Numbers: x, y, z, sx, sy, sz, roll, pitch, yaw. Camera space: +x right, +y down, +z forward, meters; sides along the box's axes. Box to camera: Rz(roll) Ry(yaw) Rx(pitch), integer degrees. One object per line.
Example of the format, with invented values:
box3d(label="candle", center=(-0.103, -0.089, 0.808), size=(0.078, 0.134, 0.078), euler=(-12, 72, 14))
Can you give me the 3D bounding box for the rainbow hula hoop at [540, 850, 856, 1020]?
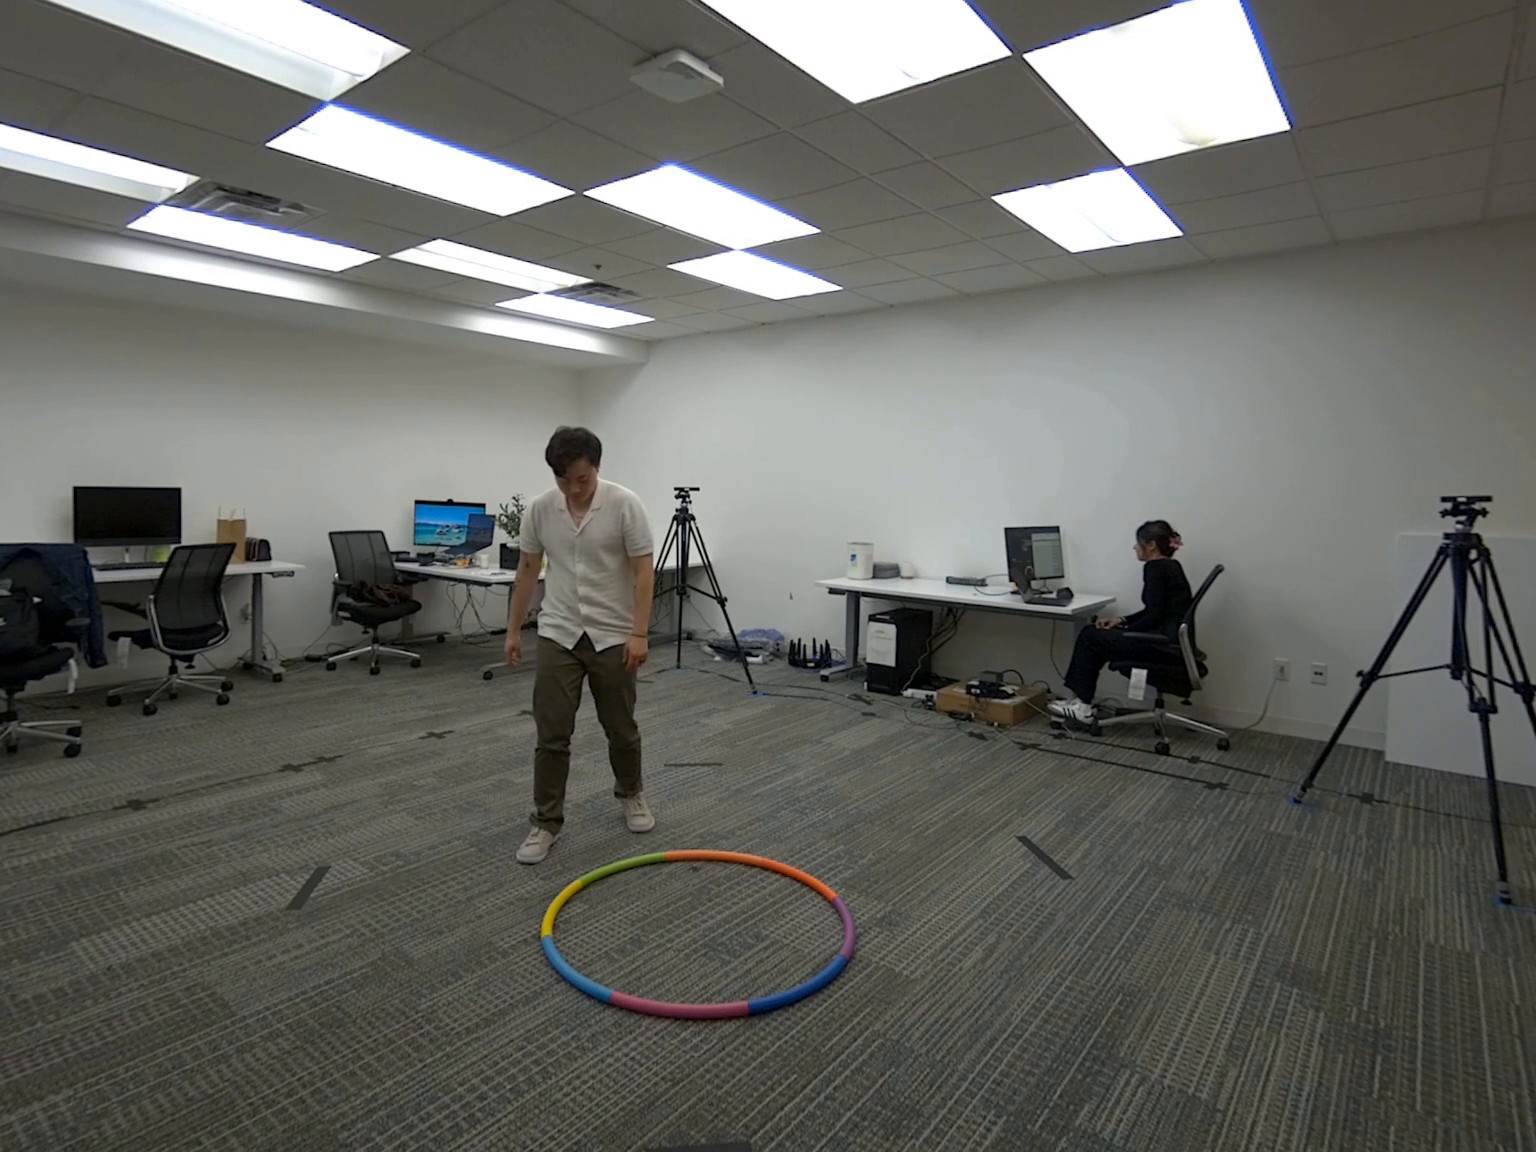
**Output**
box3d(label="rainbow hula hoop", center=(-0.229, 1.077, 2.705), size=(0.978, 0.035, 0.984), euler=(1, 5, -2))
